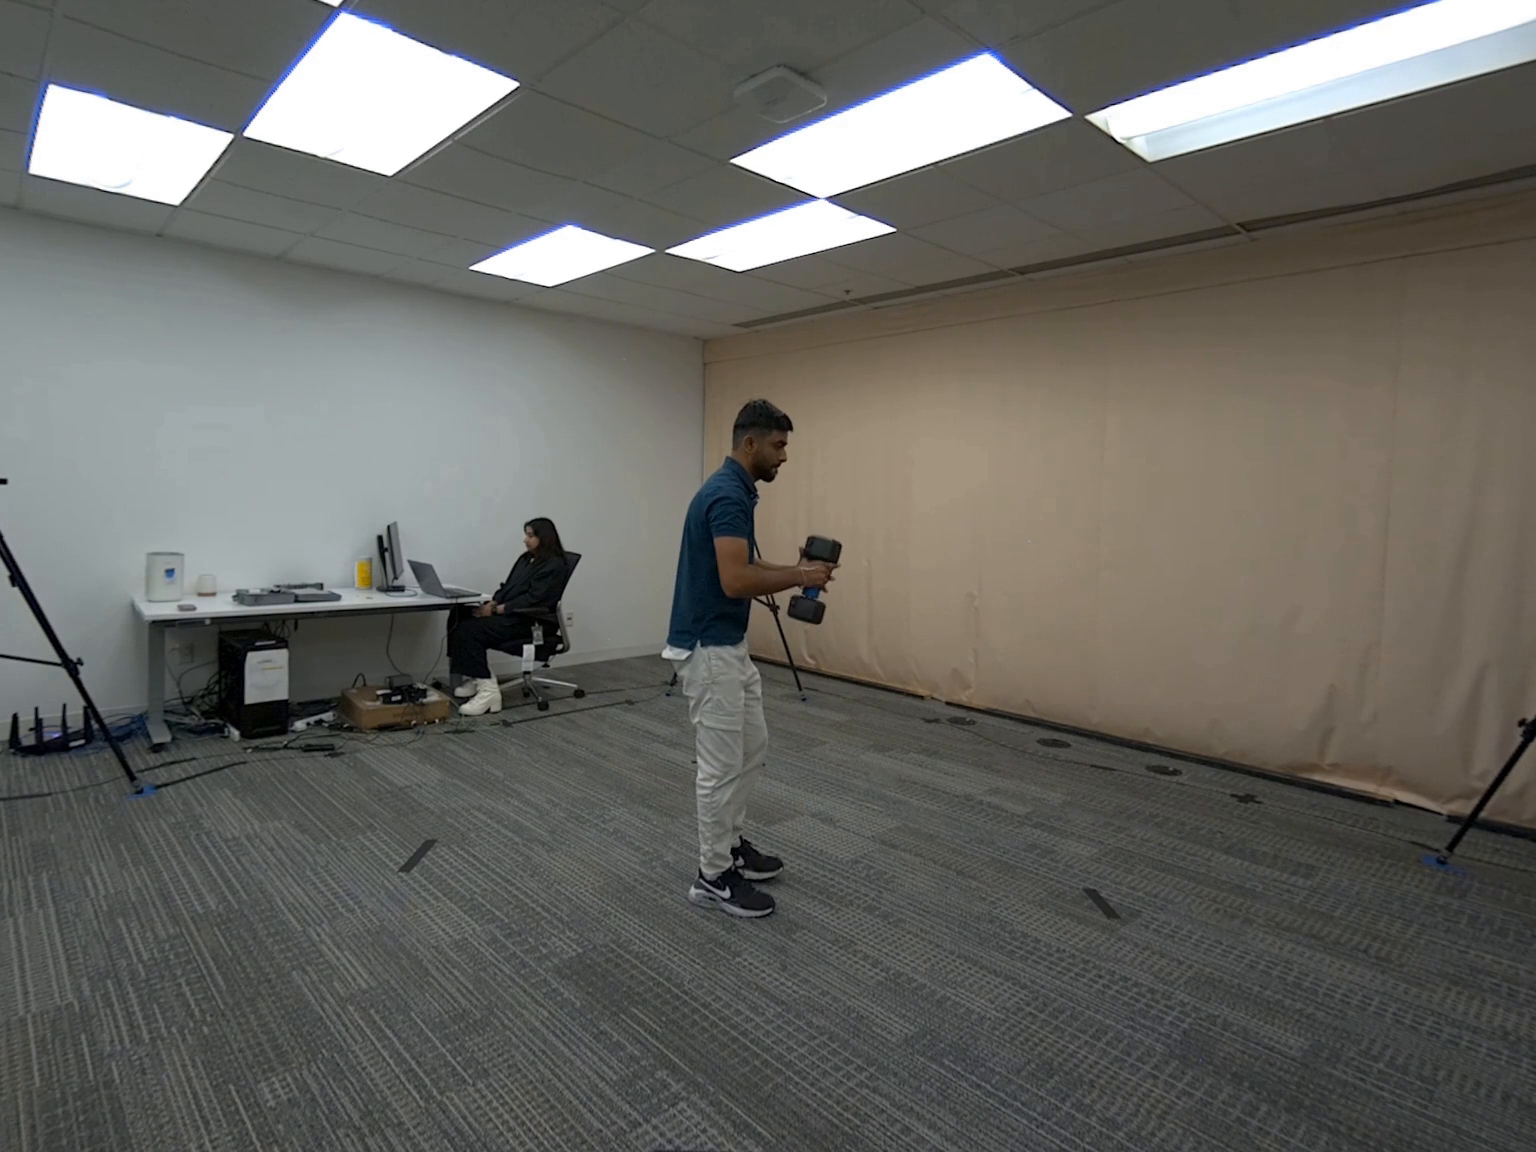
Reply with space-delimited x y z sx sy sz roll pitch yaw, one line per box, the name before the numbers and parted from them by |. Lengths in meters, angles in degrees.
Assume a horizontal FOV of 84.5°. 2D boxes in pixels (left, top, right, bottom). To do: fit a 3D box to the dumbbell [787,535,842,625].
dumbbell | 0.140 0.010 2.845 0.111 0.294 0.119 13 -4 34
